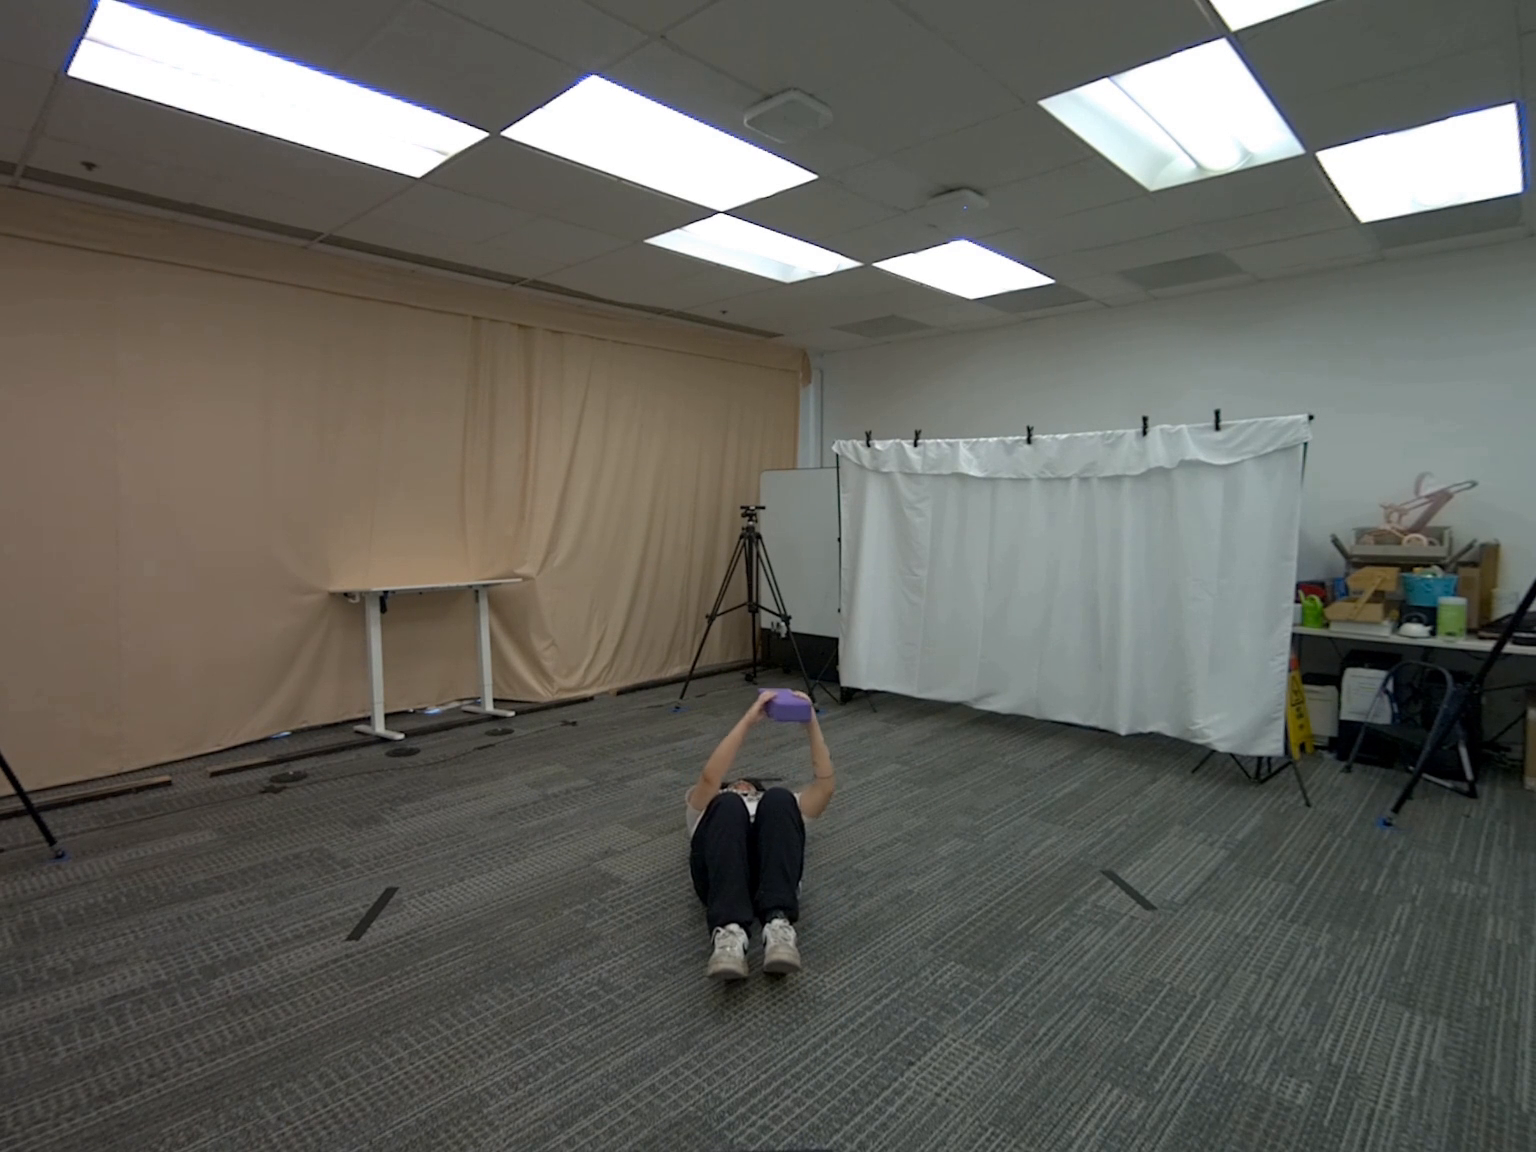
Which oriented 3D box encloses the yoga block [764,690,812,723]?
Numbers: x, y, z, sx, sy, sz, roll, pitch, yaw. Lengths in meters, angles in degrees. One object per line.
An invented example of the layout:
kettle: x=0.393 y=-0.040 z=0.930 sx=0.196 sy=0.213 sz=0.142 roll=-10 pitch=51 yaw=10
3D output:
yoga block: x=0.065 y=0.513 z=3.334 sx=0.146 sy=0.076 sz=0.234 roll=3 pitch=6 yaw=-17
